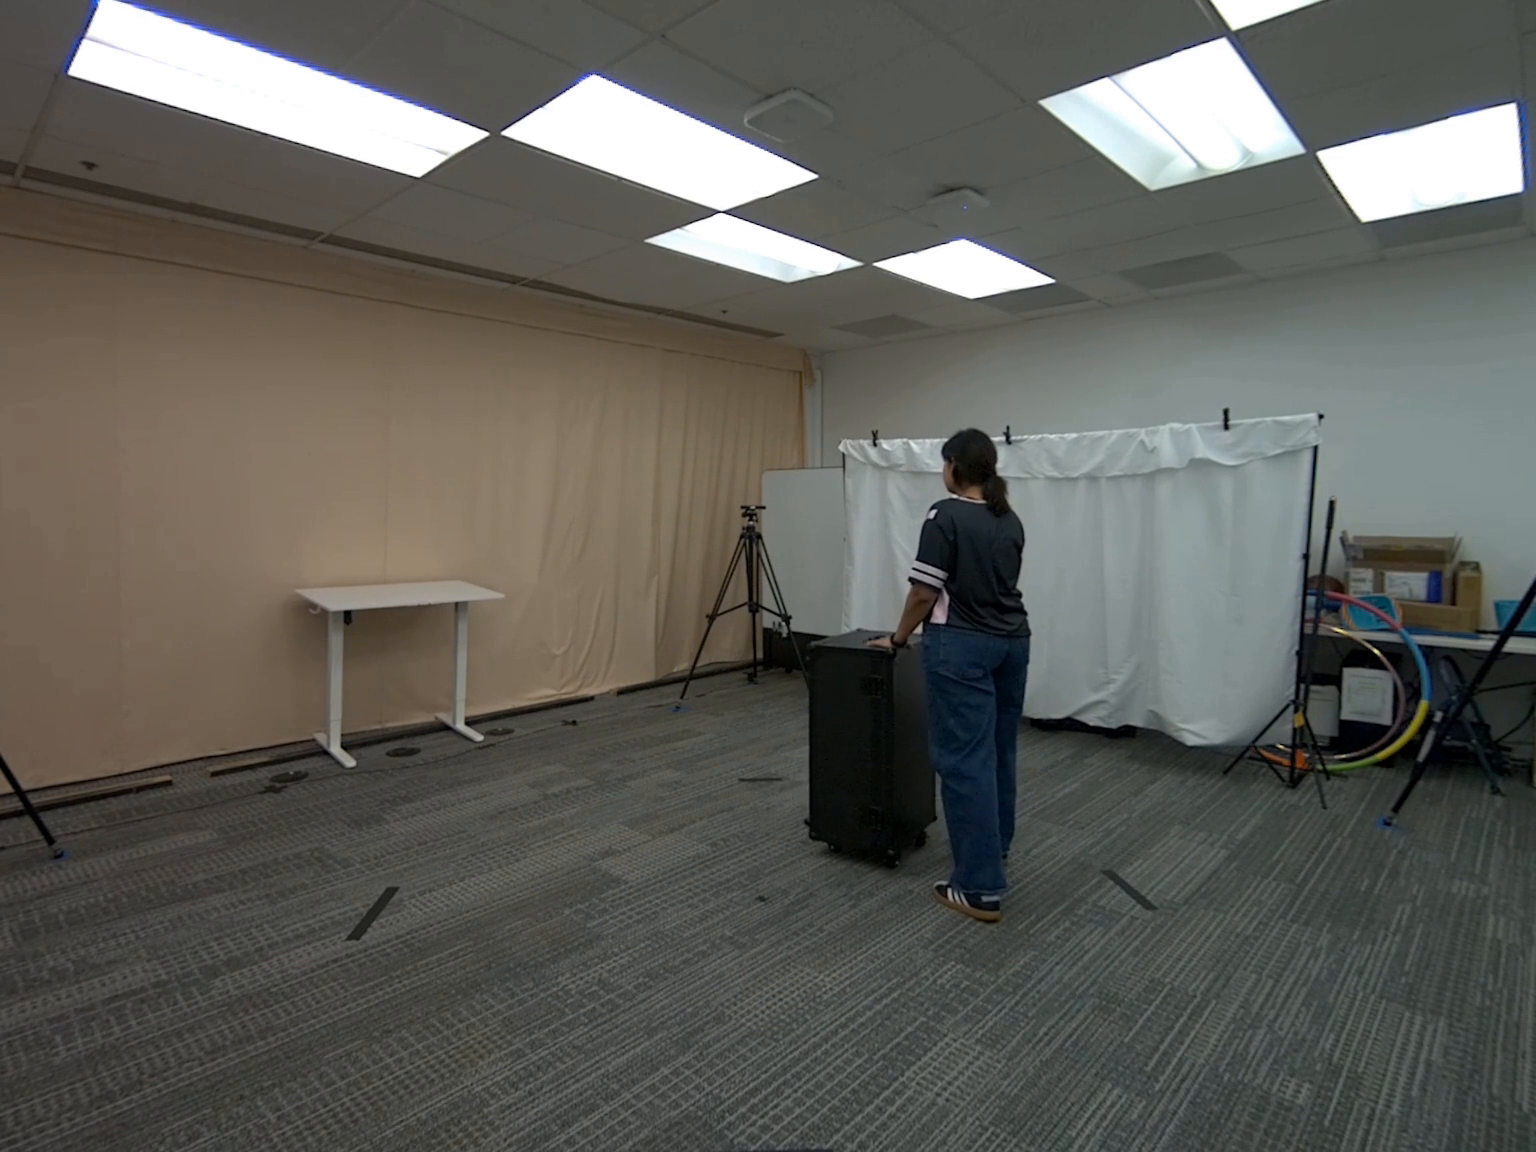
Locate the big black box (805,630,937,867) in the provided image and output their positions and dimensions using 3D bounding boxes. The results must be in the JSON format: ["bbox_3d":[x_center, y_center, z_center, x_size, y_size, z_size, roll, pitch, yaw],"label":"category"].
[{"bbox_3d":[0.427,0.687,3.427,0.396,0.867,0.509,1,3,30],"label":"big black box"}]
